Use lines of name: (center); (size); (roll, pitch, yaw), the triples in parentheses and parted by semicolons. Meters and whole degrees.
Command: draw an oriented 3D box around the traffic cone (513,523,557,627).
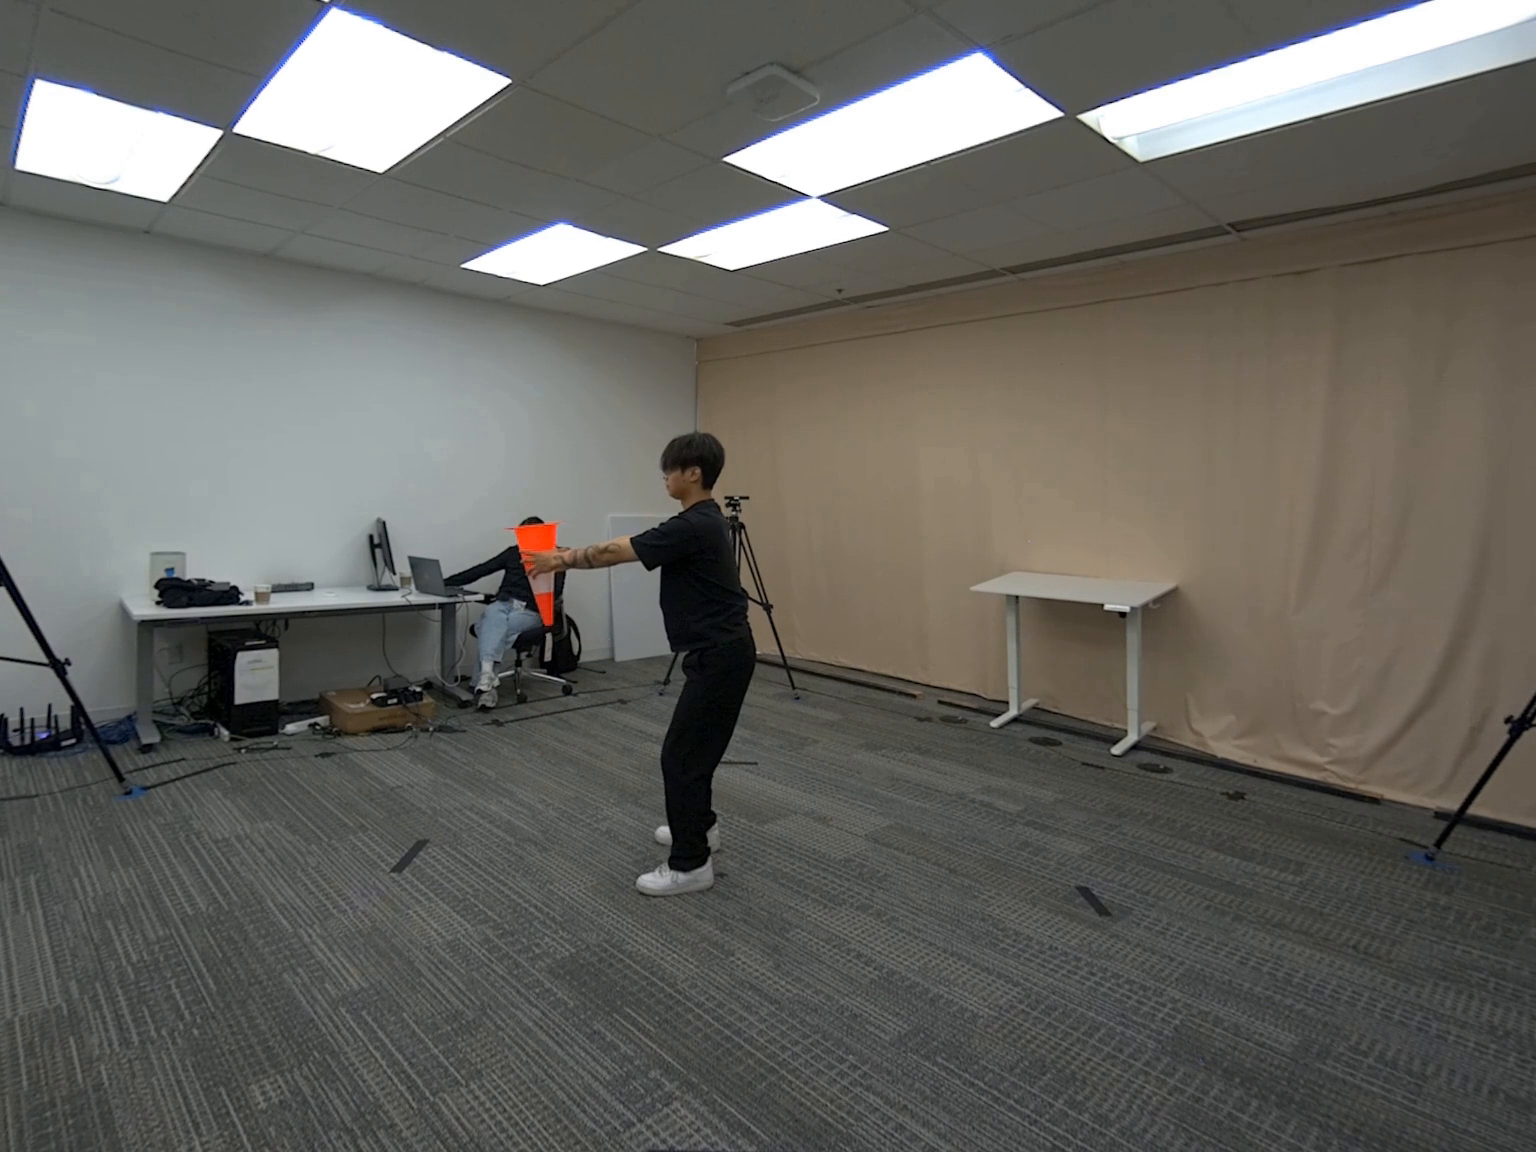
traffic cone: (-0.860, 0.008, 3.177); (0.204, 0.382, 0.205); (-6, 6, 2)
